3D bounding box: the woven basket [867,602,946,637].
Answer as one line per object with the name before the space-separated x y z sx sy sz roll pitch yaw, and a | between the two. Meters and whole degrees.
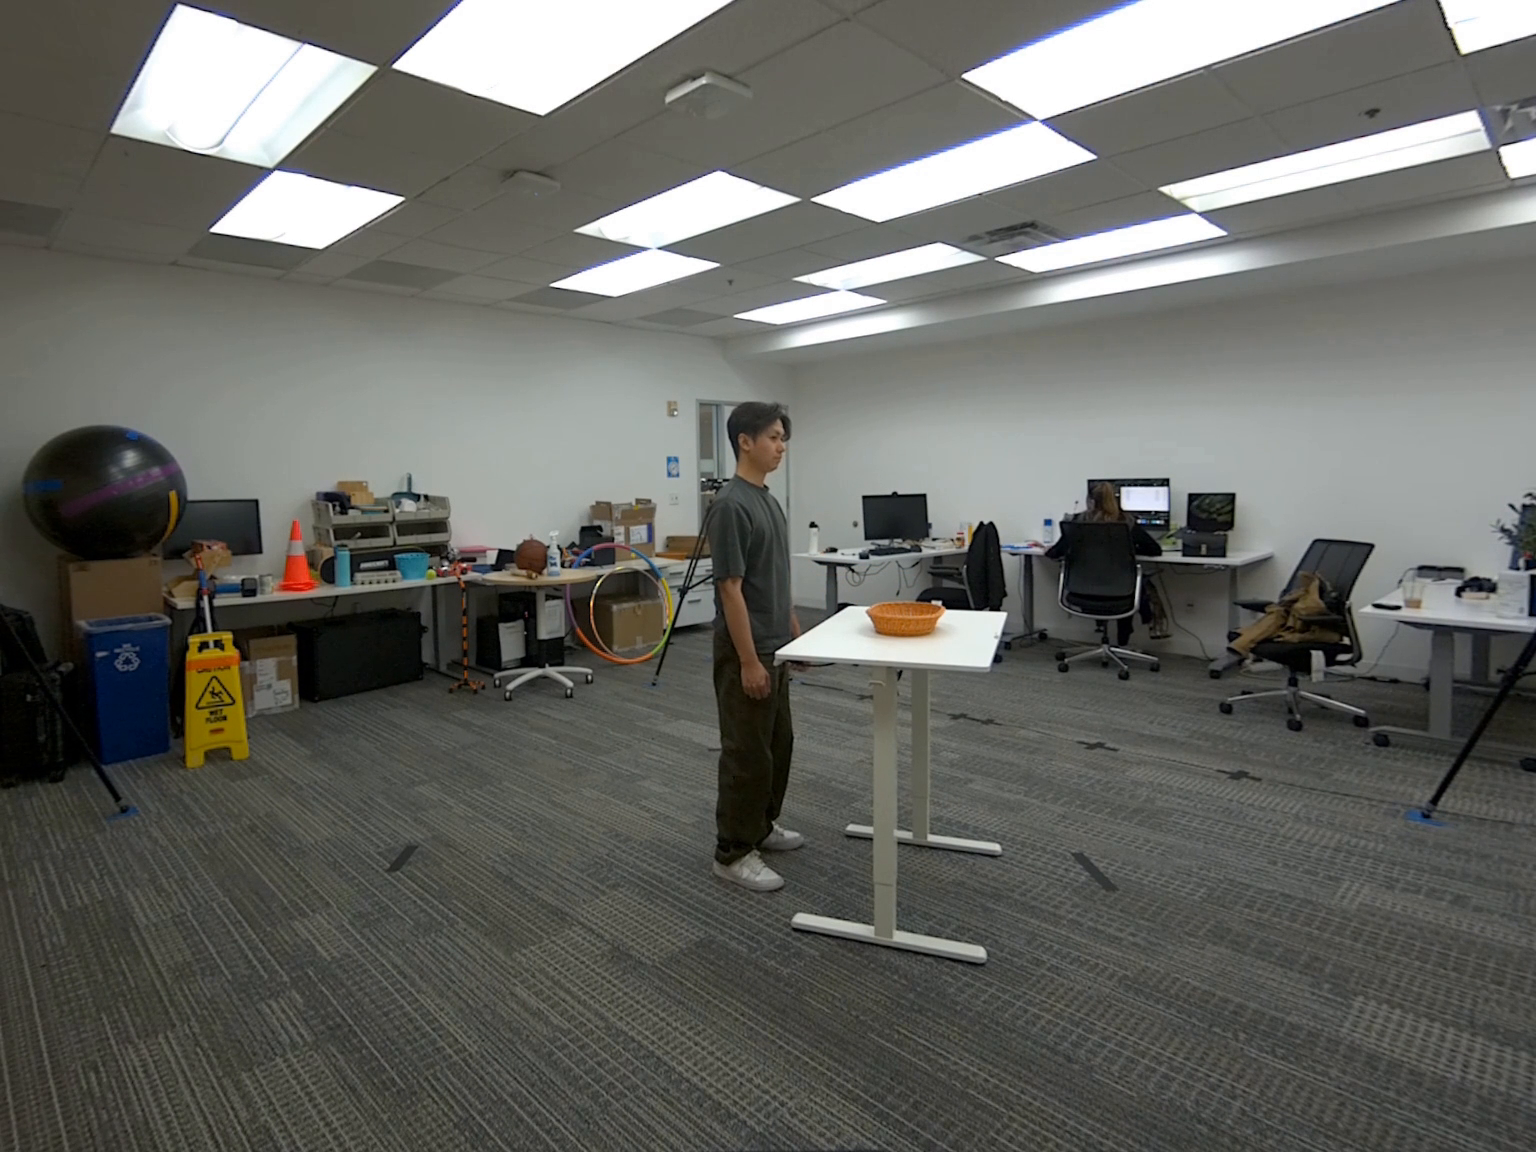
woven basket | 0.469 0.151 2.866 0.258 0.073 0.344 2 7 25
